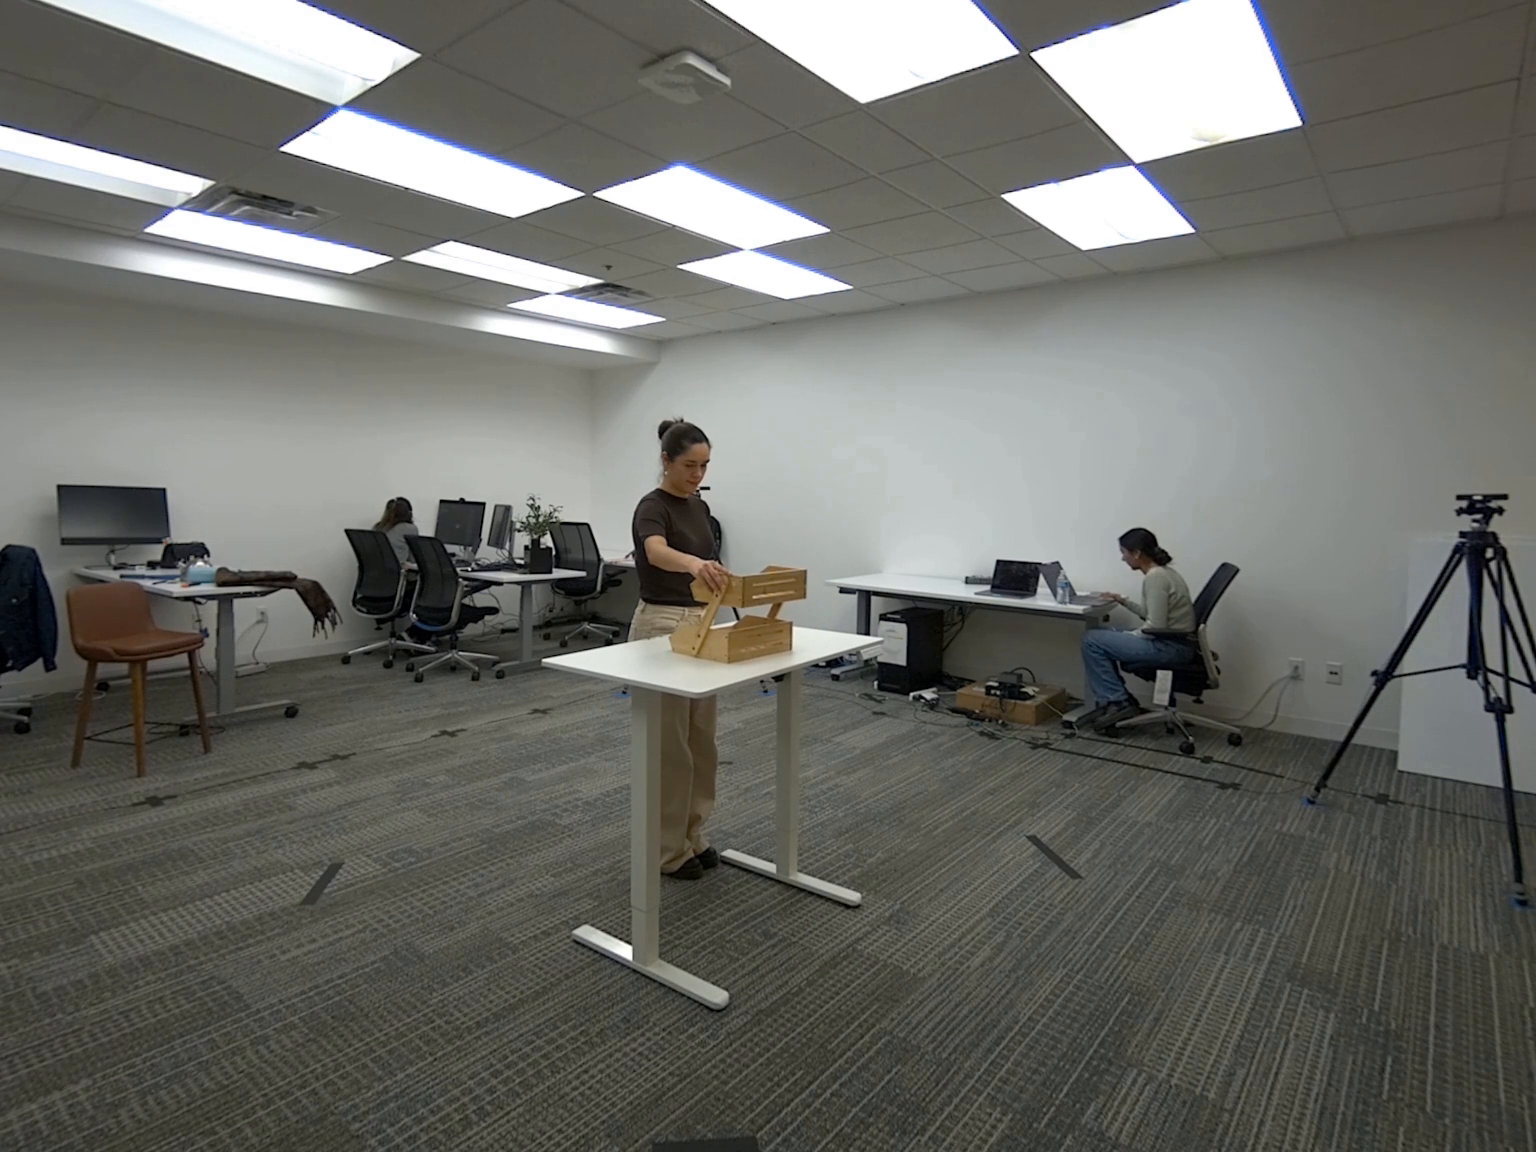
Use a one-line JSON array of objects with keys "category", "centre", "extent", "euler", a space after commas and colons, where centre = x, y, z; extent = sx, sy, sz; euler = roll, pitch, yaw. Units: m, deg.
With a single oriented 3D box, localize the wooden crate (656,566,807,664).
[{"category": "wooden crate", "centre": [-0.100, 0.101, 2.626], "extent": [0.312, 0.272, 0.315], "euler": [6, 7, 41]}]
